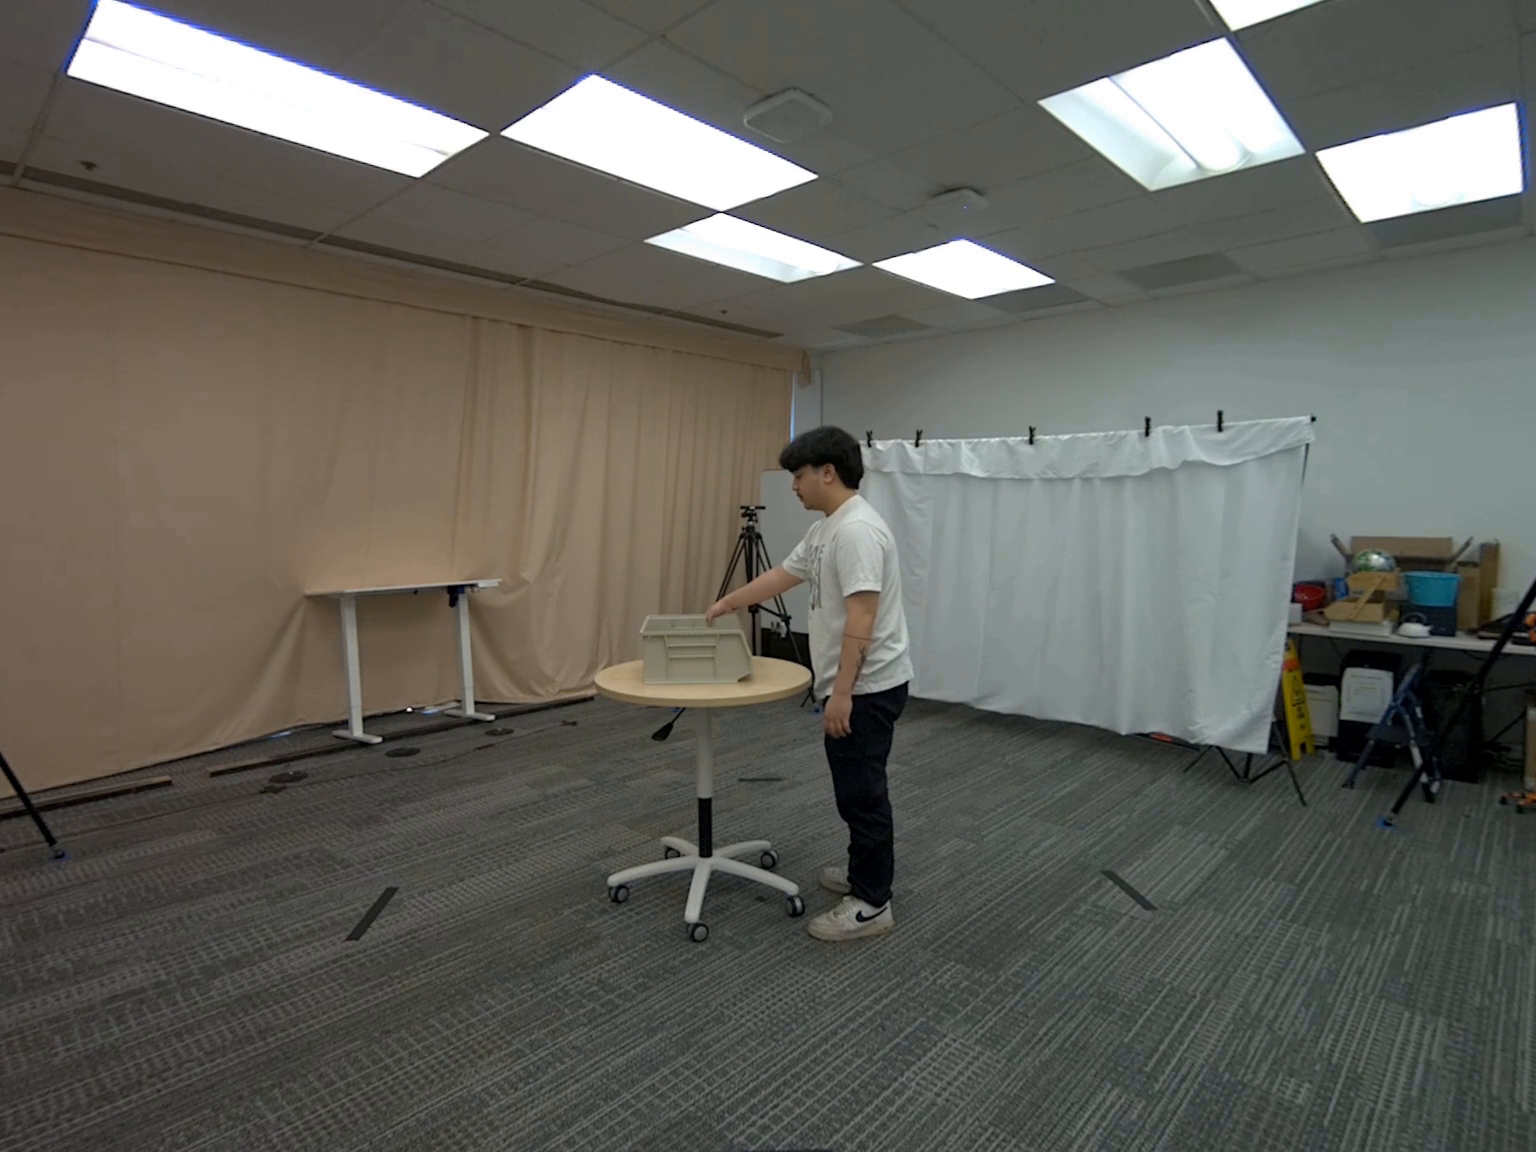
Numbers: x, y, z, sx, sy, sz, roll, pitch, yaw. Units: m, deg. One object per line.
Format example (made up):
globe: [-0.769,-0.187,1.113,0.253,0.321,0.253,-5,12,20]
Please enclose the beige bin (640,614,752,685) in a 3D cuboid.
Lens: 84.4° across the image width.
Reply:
beige bin: [-0.243,0.261,3.027,0.377,0.188,0.424,-1,6,-2]
